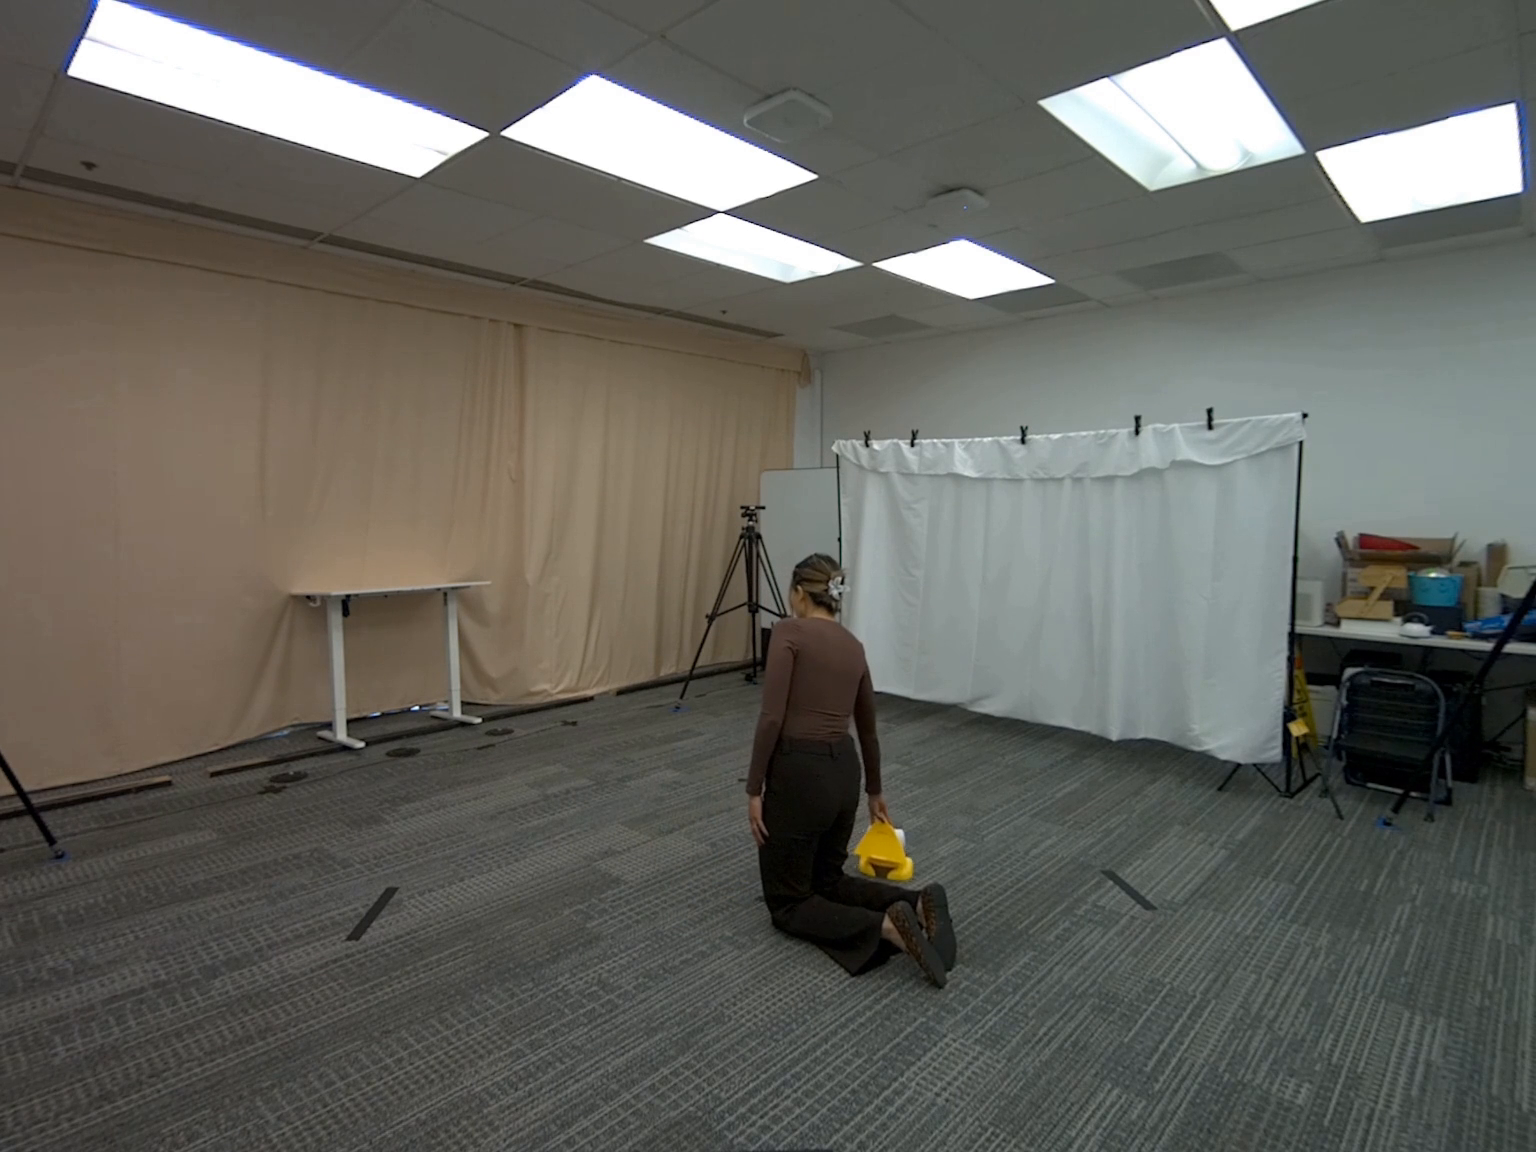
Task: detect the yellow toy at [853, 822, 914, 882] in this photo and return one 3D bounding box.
[{"bbox_3d":[0.456,1.013,3.205,0.210,0.230,0.188,3,4,26],"label":"yellow toy"}]
